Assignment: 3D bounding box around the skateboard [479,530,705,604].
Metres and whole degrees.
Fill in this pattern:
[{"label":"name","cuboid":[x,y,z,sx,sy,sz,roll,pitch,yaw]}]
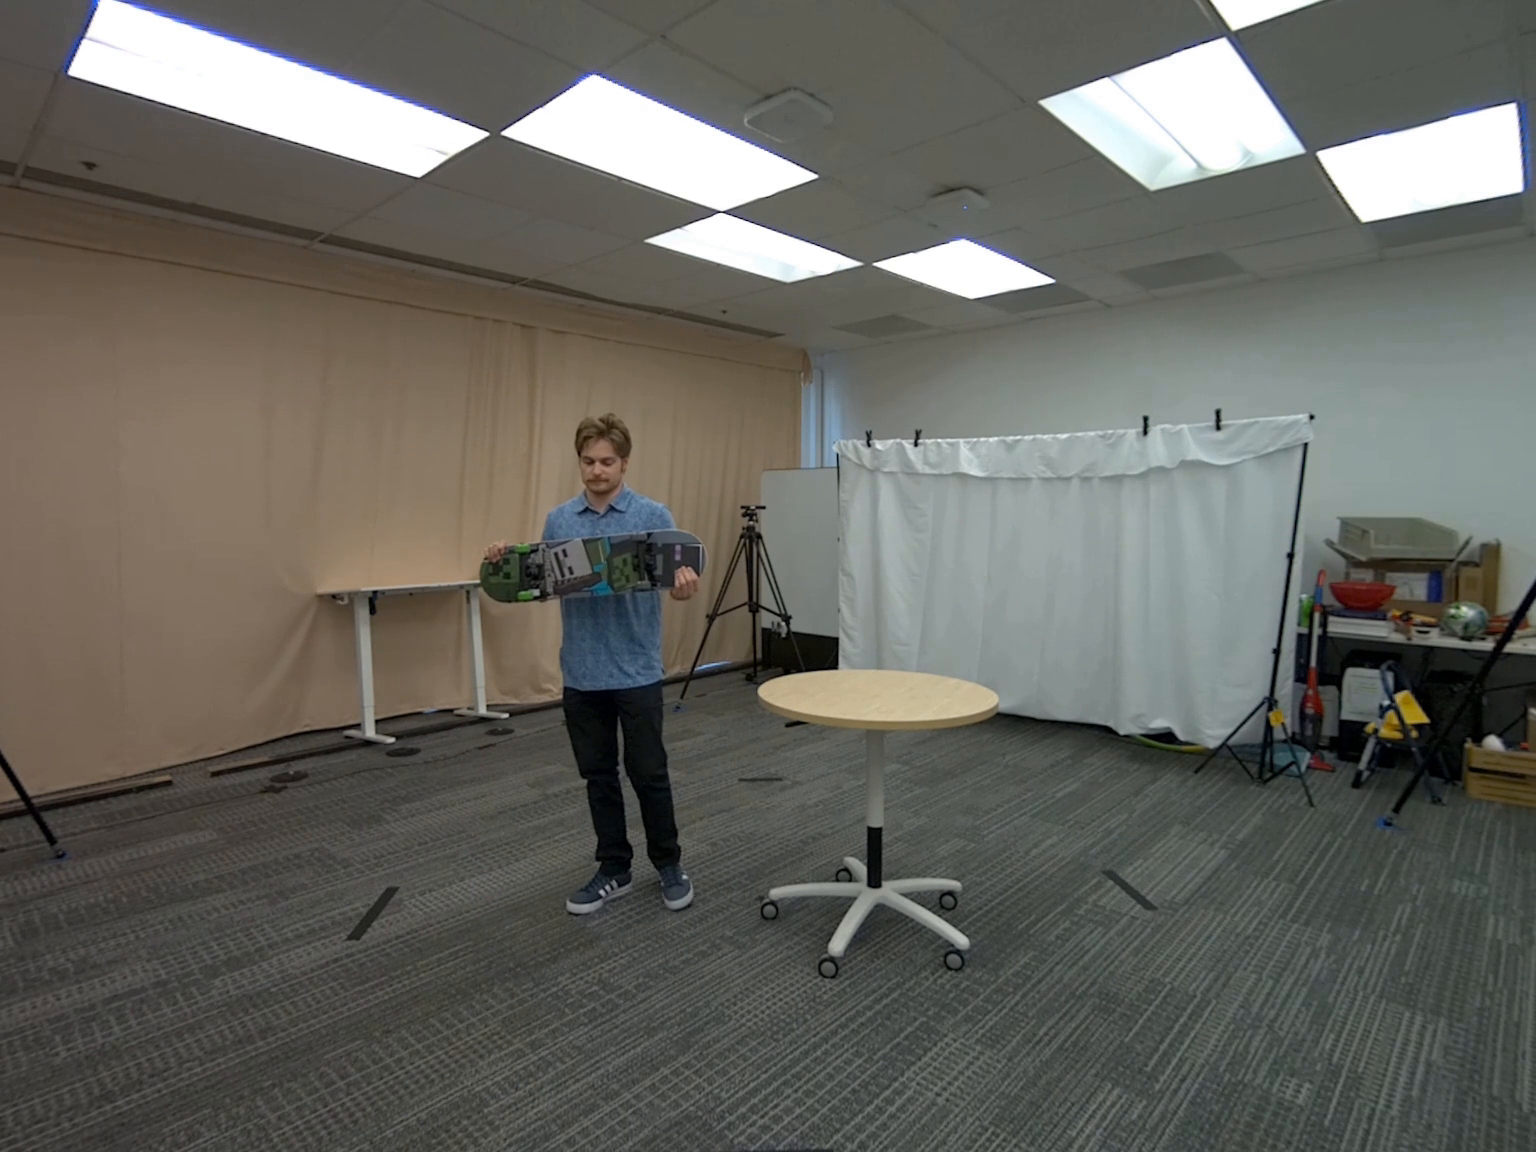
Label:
[{"label":"skateboard","cuboid":[-0.578,-0.025,2.729,0.795,0.194,0.109,-5,-3,12]}]
